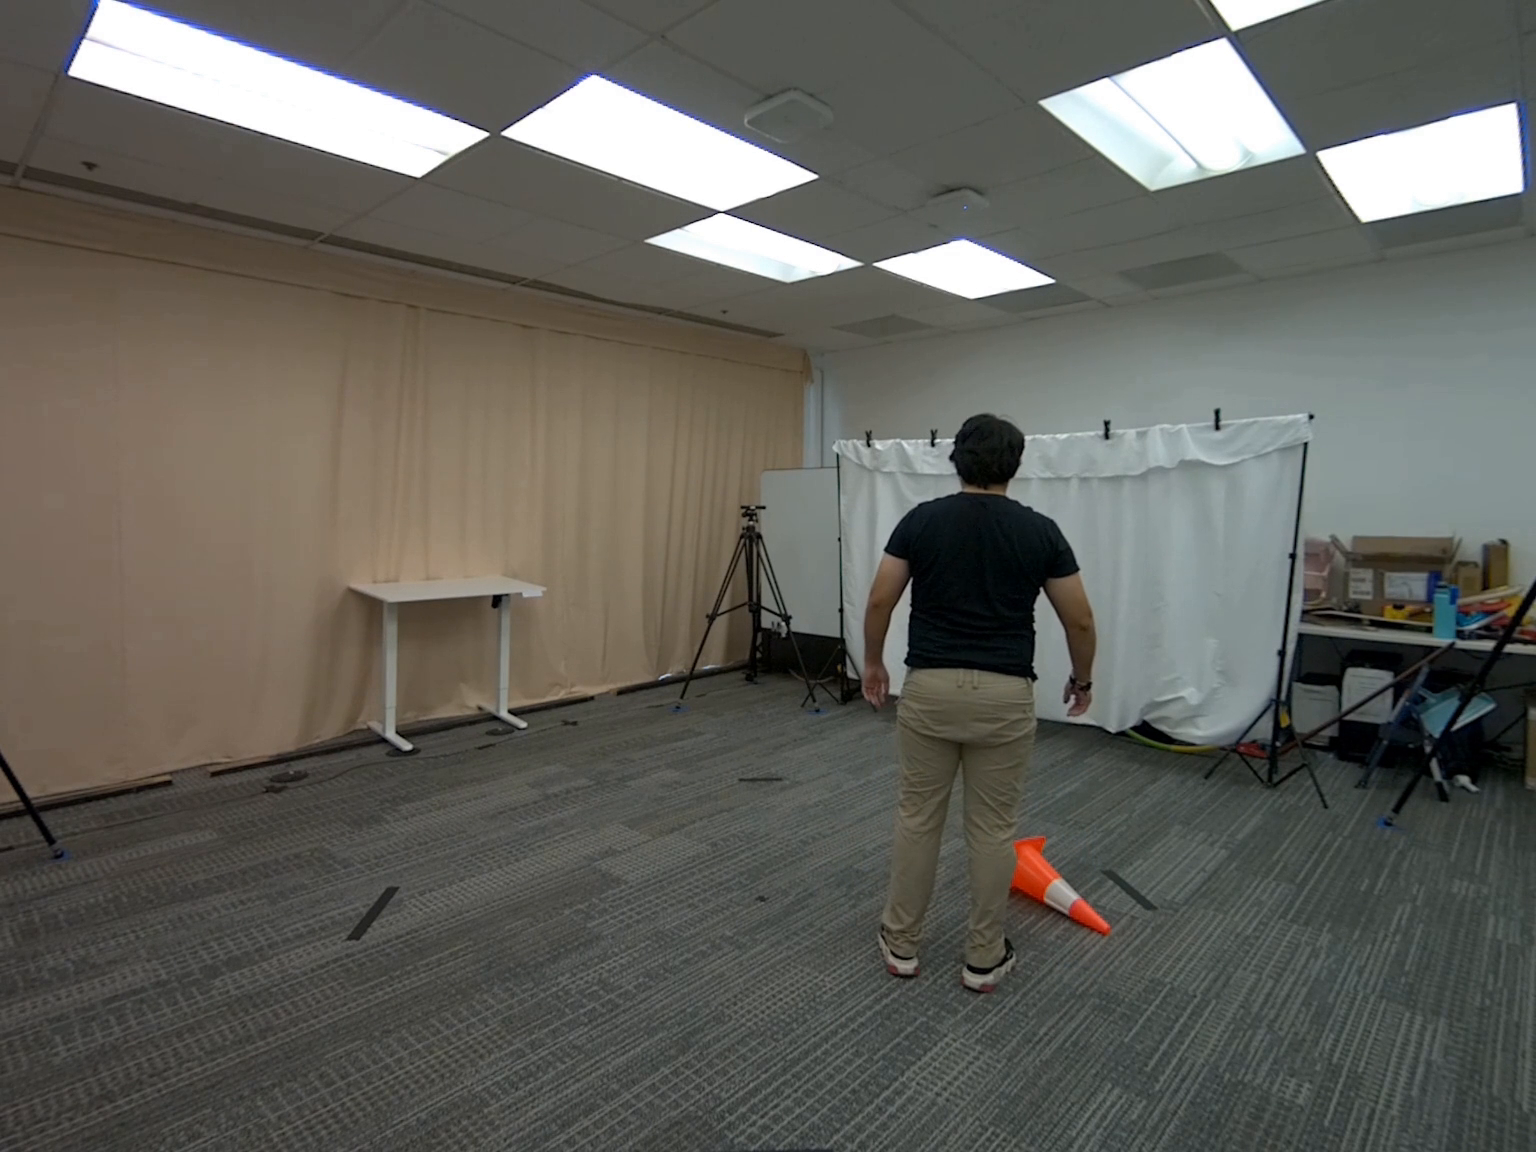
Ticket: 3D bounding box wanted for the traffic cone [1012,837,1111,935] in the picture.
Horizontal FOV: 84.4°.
[{"bbox_3d":[1.014,1.103,2.885,0.200,0.202,0.397,-1,18,-29],"label":"traffic cone"}]
